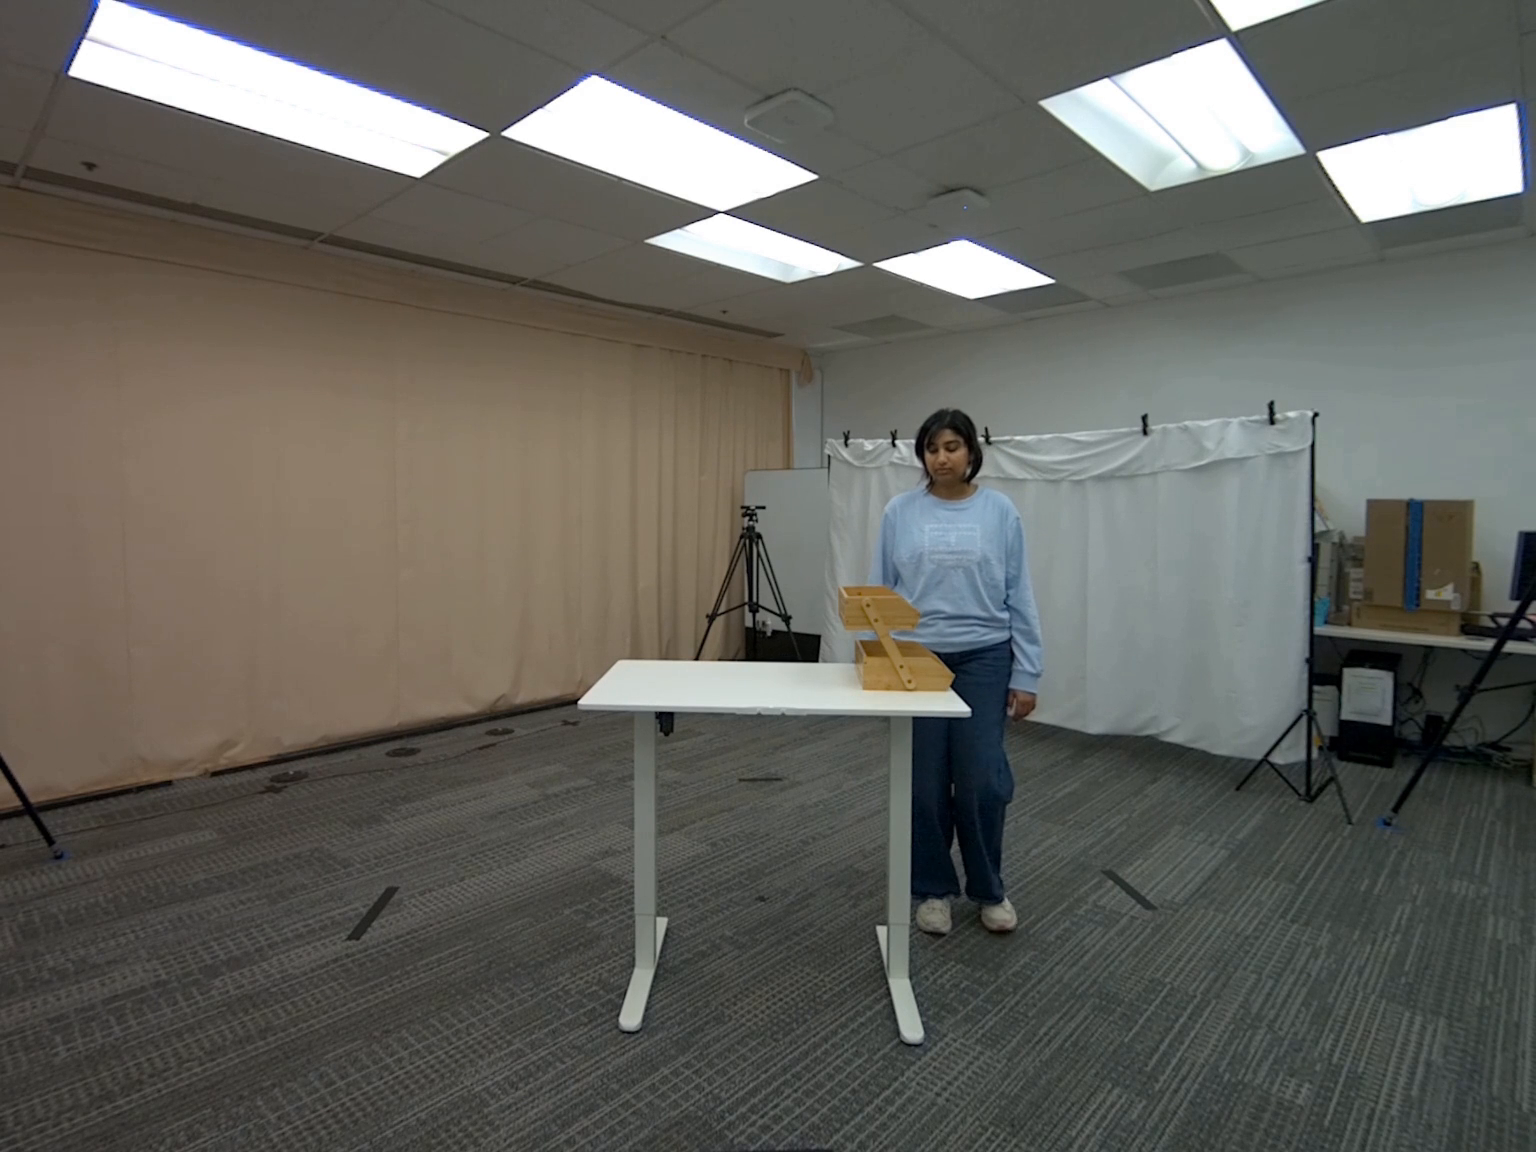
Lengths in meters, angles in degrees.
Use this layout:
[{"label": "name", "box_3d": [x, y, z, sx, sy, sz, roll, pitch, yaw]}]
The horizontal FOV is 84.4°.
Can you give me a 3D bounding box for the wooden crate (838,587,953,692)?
[{"label": "wooden crate", "box_3d": [0.383, 0.175, 2.454, 0.303, 0.273, 0.324, 0, 4, 3]}]
